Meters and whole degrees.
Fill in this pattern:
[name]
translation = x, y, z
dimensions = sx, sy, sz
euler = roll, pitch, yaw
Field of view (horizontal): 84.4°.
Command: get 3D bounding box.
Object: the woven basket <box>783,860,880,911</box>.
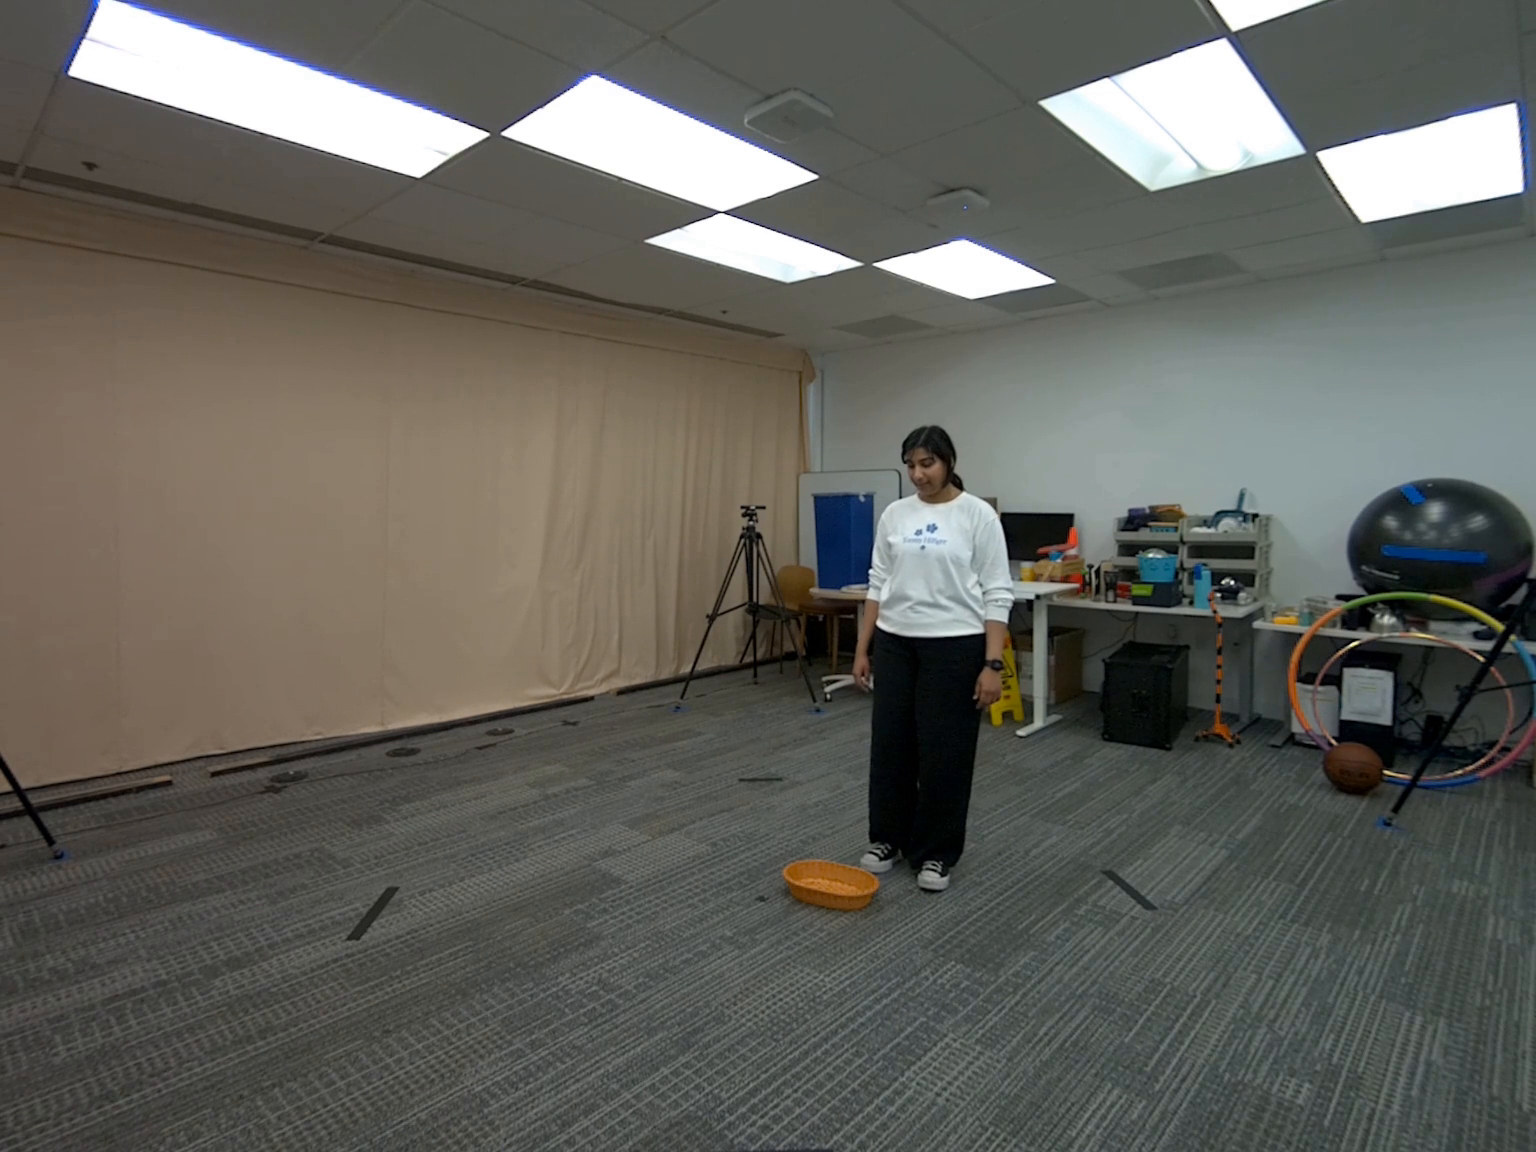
[woven basket]
translation = 0.226, 1.099, 3.003
dimensions = 0.361, 0.073, 0.245
euler = 2, 4, 31
